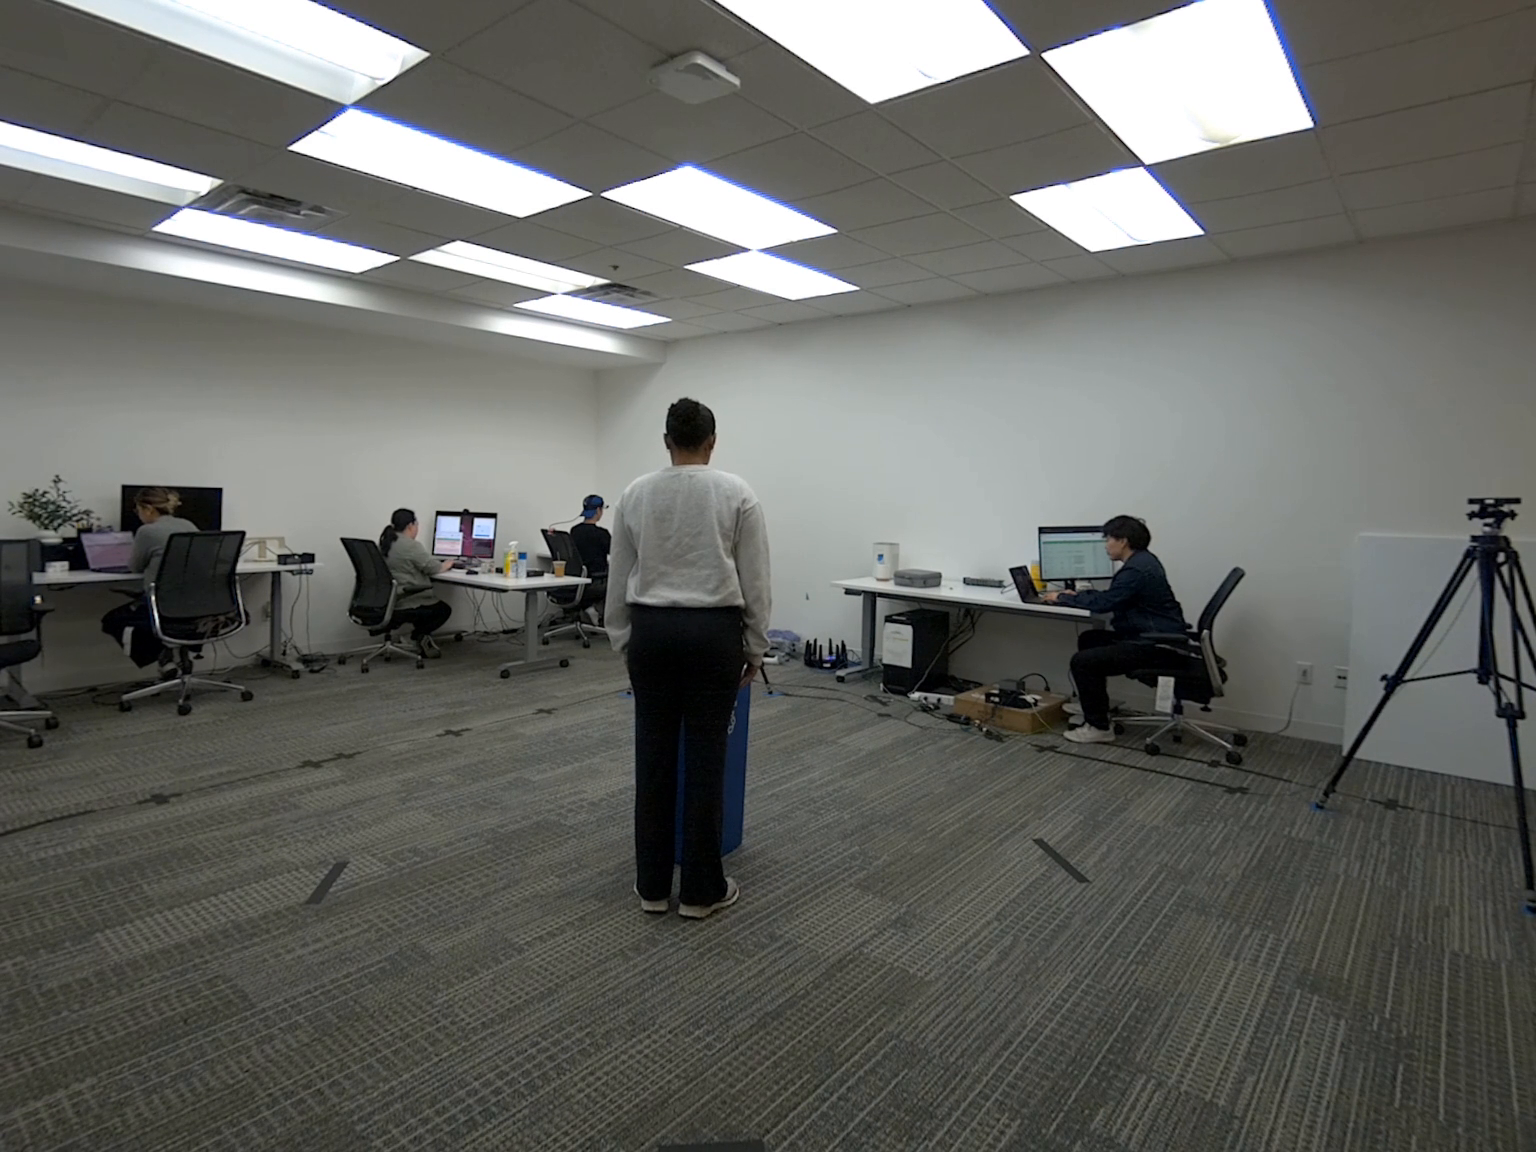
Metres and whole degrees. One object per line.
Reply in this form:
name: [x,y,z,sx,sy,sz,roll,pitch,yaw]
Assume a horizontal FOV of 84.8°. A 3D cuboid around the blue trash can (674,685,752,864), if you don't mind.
blue trash can: [-0.294,0.688,3.271,0.385,0.712,0.368,2,3,29]
